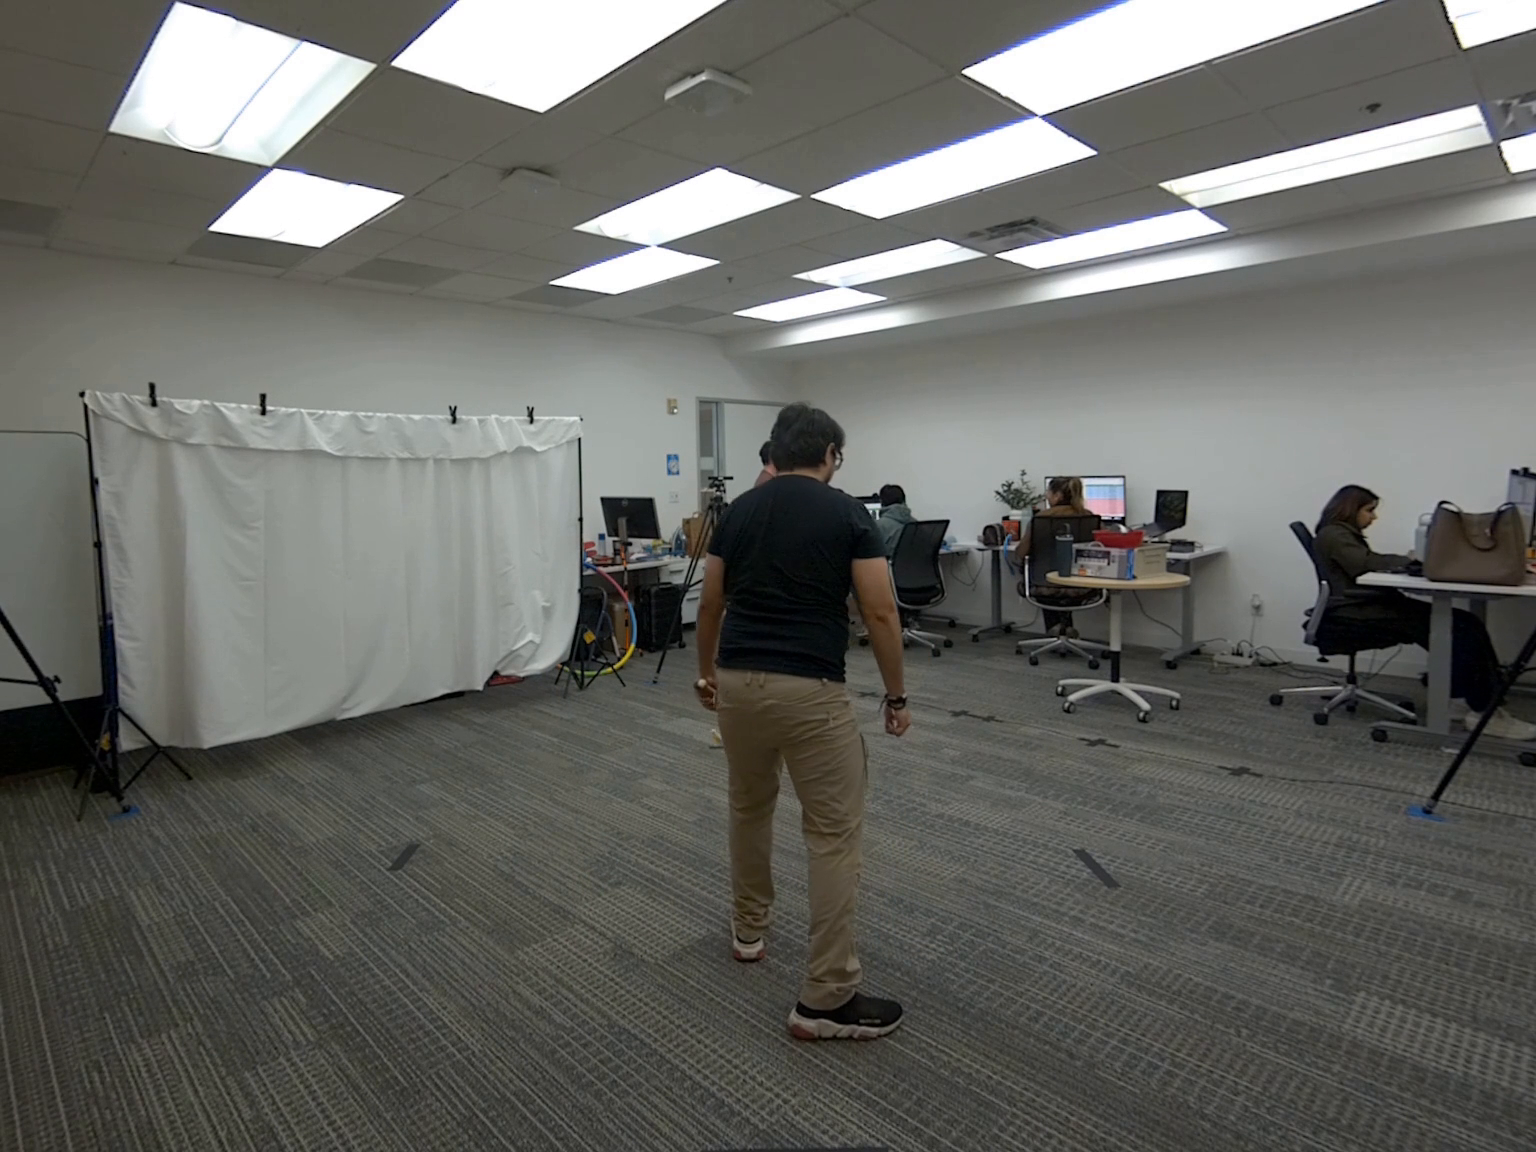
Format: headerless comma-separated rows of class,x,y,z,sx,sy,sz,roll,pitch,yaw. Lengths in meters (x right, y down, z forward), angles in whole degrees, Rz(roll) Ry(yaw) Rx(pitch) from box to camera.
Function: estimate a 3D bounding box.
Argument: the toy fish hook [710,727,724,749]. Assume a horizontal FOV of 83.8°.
toy fish hook,-0.126,0.482,2.762,0.229,0.049,0.488,-11,-45,30
